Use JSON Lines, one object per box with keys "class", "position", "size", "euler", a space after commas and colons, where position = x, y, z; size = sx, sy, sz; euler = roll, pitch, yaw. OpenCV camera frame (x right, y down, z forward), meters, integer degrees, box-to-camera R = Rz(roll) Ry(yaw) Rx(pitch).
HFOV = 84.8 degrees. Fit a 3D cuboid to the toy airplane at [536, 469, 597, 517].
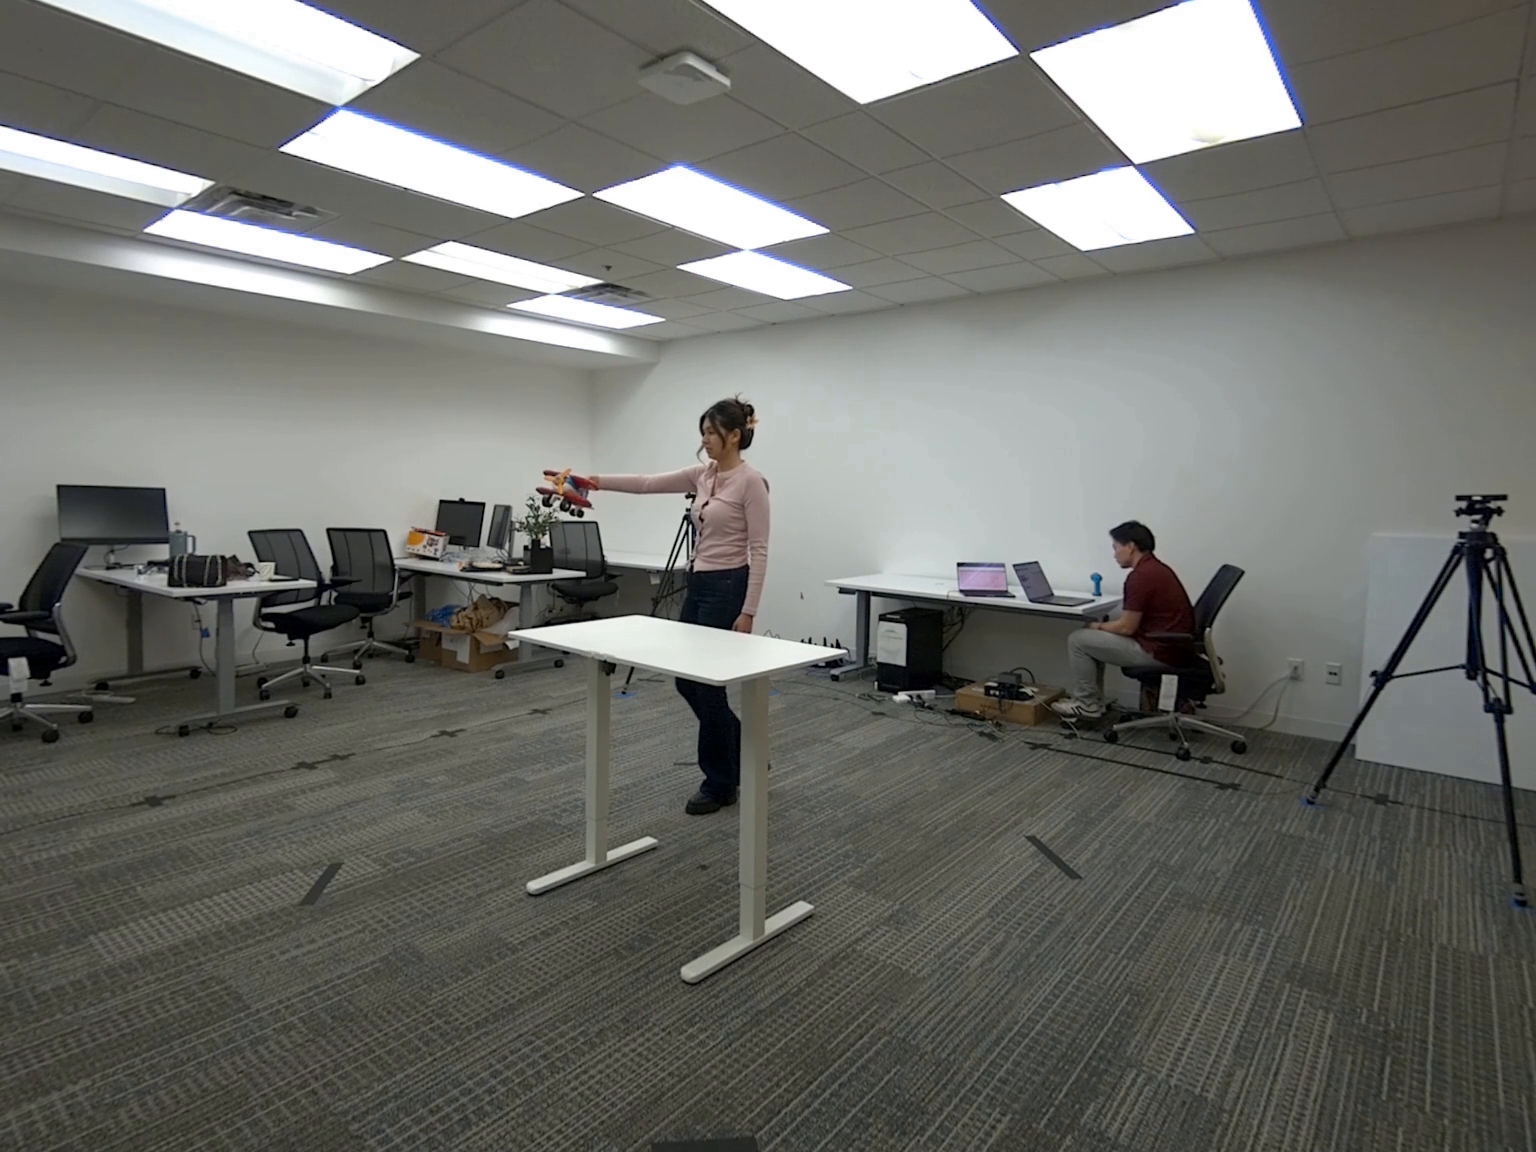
{"class": "toy airplane", "position": [-0.850, -0.344, 3.528], "size": [0.249, 0.156, 0.261], "euler": [16, -2, -9]}
